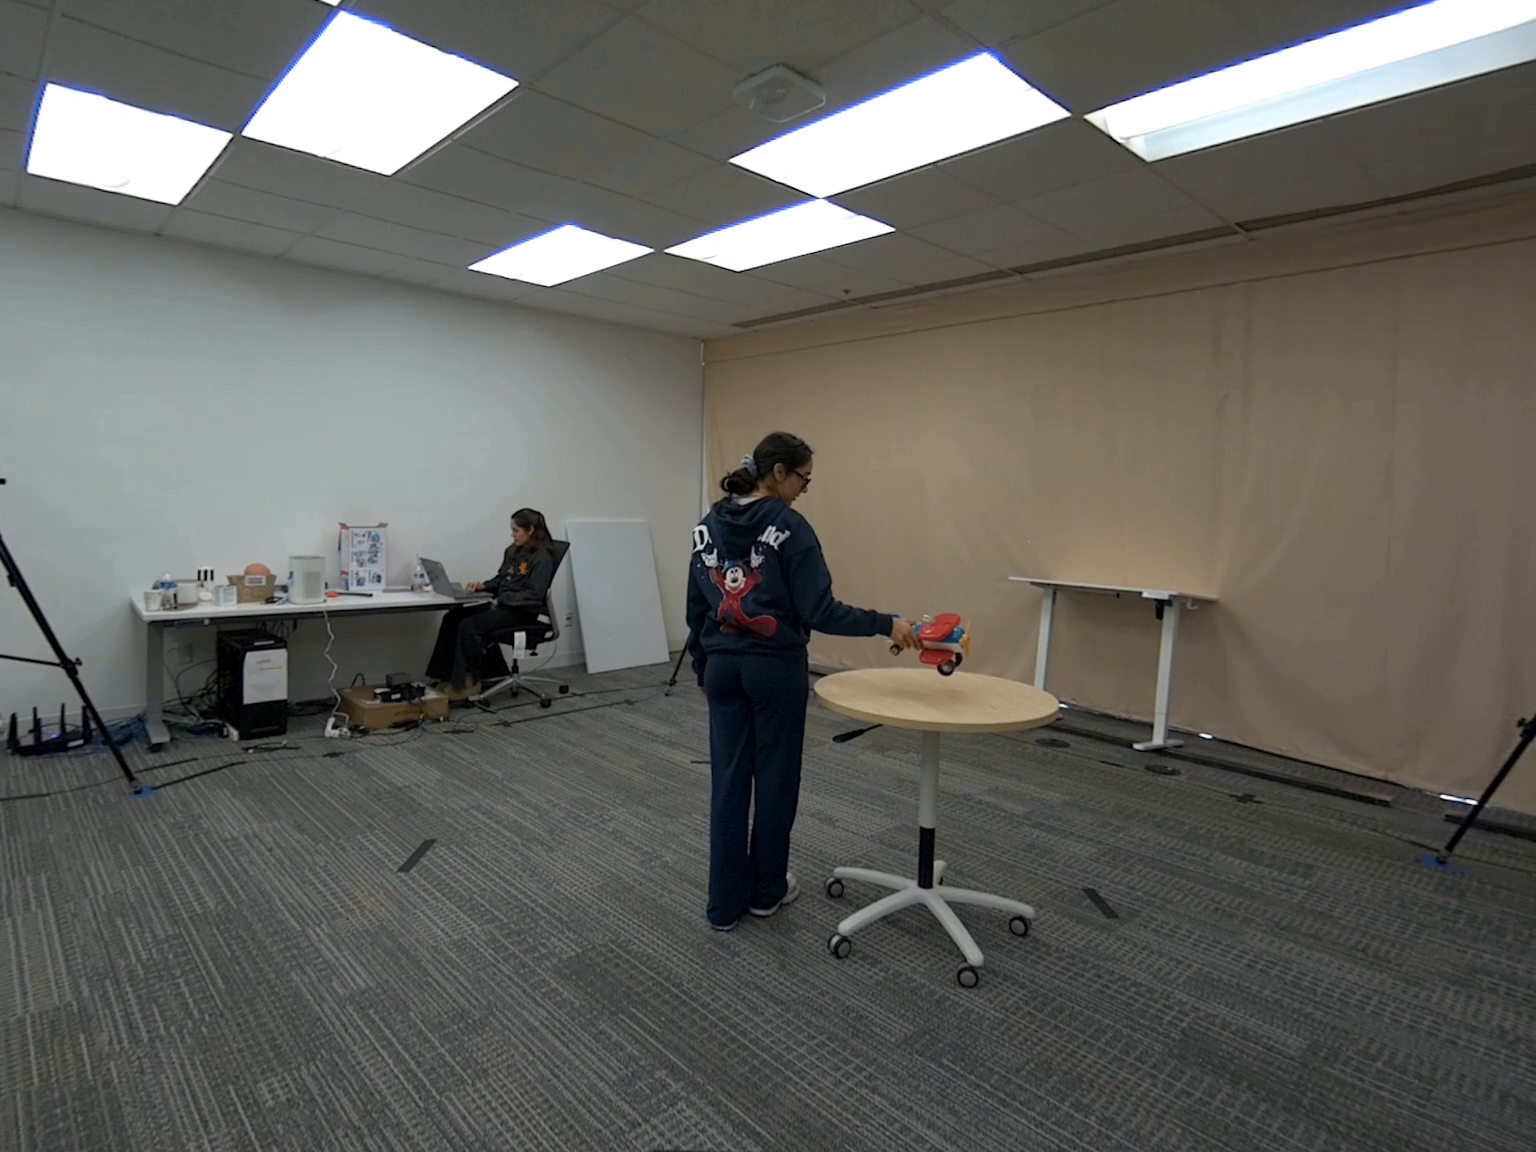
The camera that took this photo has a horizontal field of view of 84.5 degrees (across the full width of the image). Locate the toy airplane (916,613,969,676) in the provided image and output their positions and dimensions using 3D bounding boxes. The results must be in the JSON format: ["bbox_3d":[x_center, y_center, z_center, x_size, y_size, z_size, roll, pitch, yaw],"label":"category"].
[{"bbox_3d":[0.500,0.209,2.686,0.259,0.154,0.254,8,20,-2],"label":"toy airplane"}]
